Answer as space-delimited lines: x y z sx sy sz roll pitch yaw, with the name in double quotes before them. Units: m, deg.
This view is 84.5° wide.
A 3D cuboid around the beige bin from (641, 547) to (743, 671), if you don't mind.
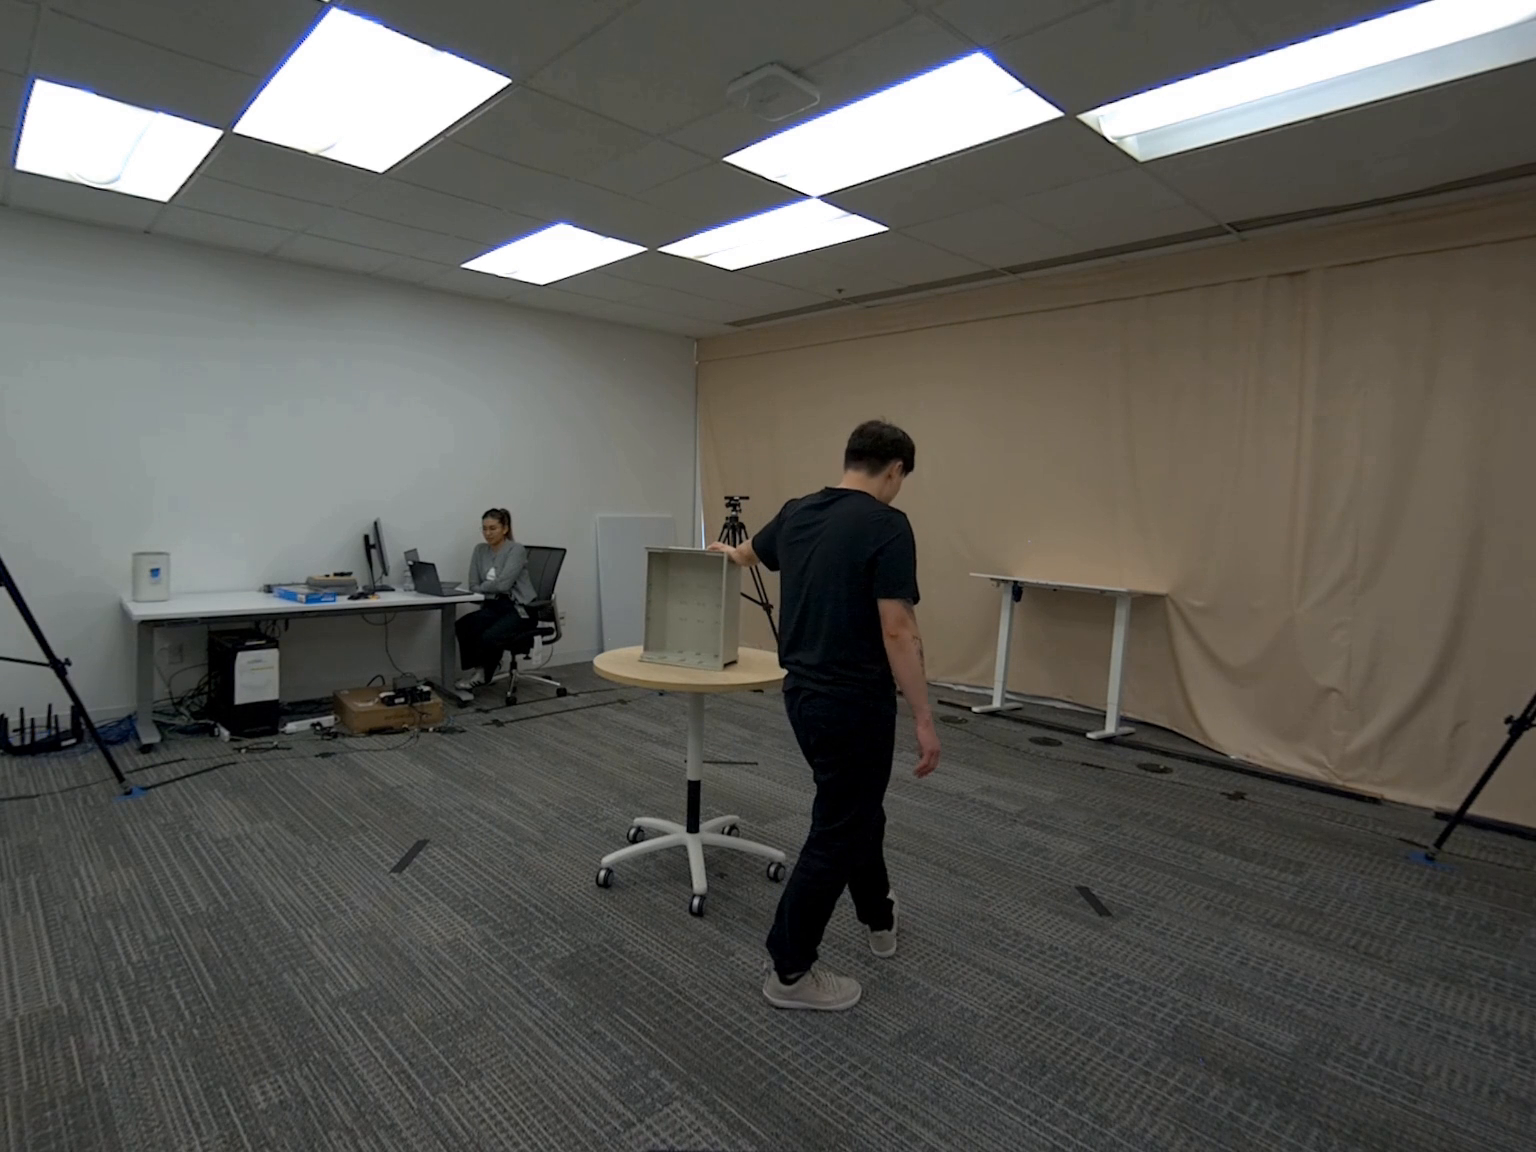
"beige bin" -0.302 0.110 3.103 0.384 0.422 0.185 4 1 23
